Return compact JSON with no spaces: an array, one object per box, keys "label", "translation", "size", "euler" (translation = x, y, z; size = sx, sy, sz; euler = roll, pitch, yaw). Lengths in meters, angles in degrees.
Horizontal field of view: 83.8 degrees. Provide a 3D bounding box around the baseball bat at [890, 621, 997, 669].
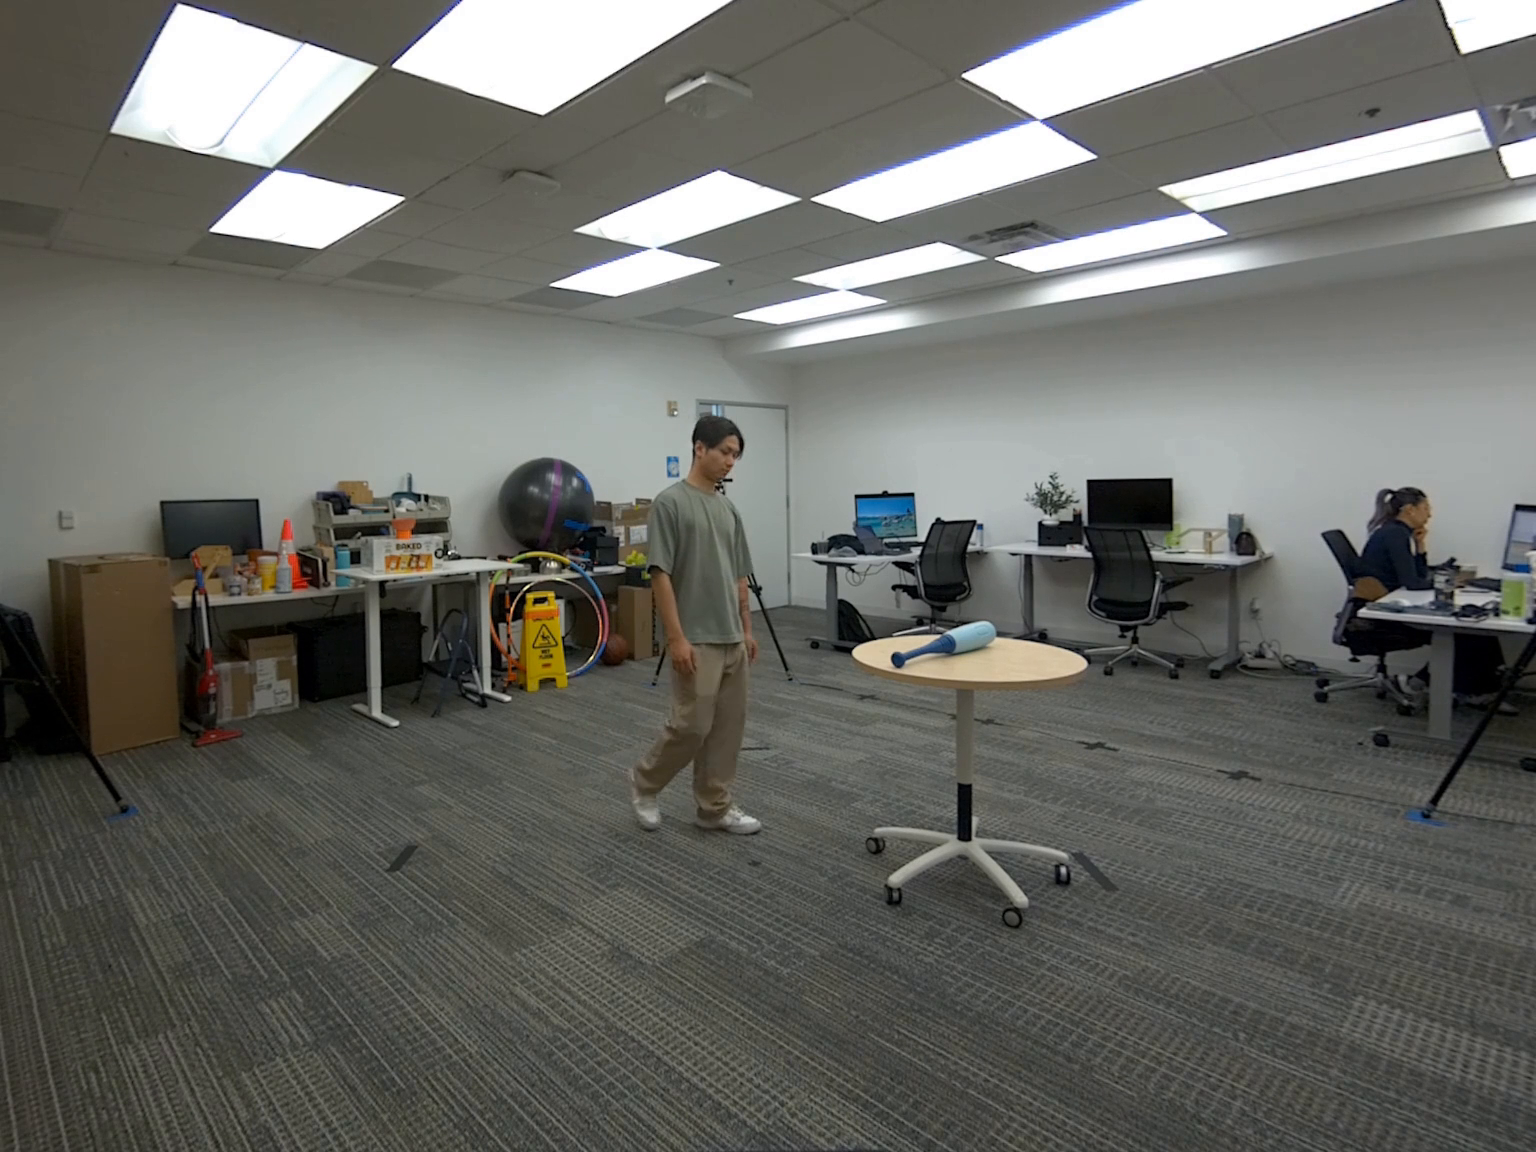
[{"label":"baseball bat","translation":[0.600,0.235,2.901],"size":[0.530,0.088,0.092],"euler":[-10,10,-43]}]
